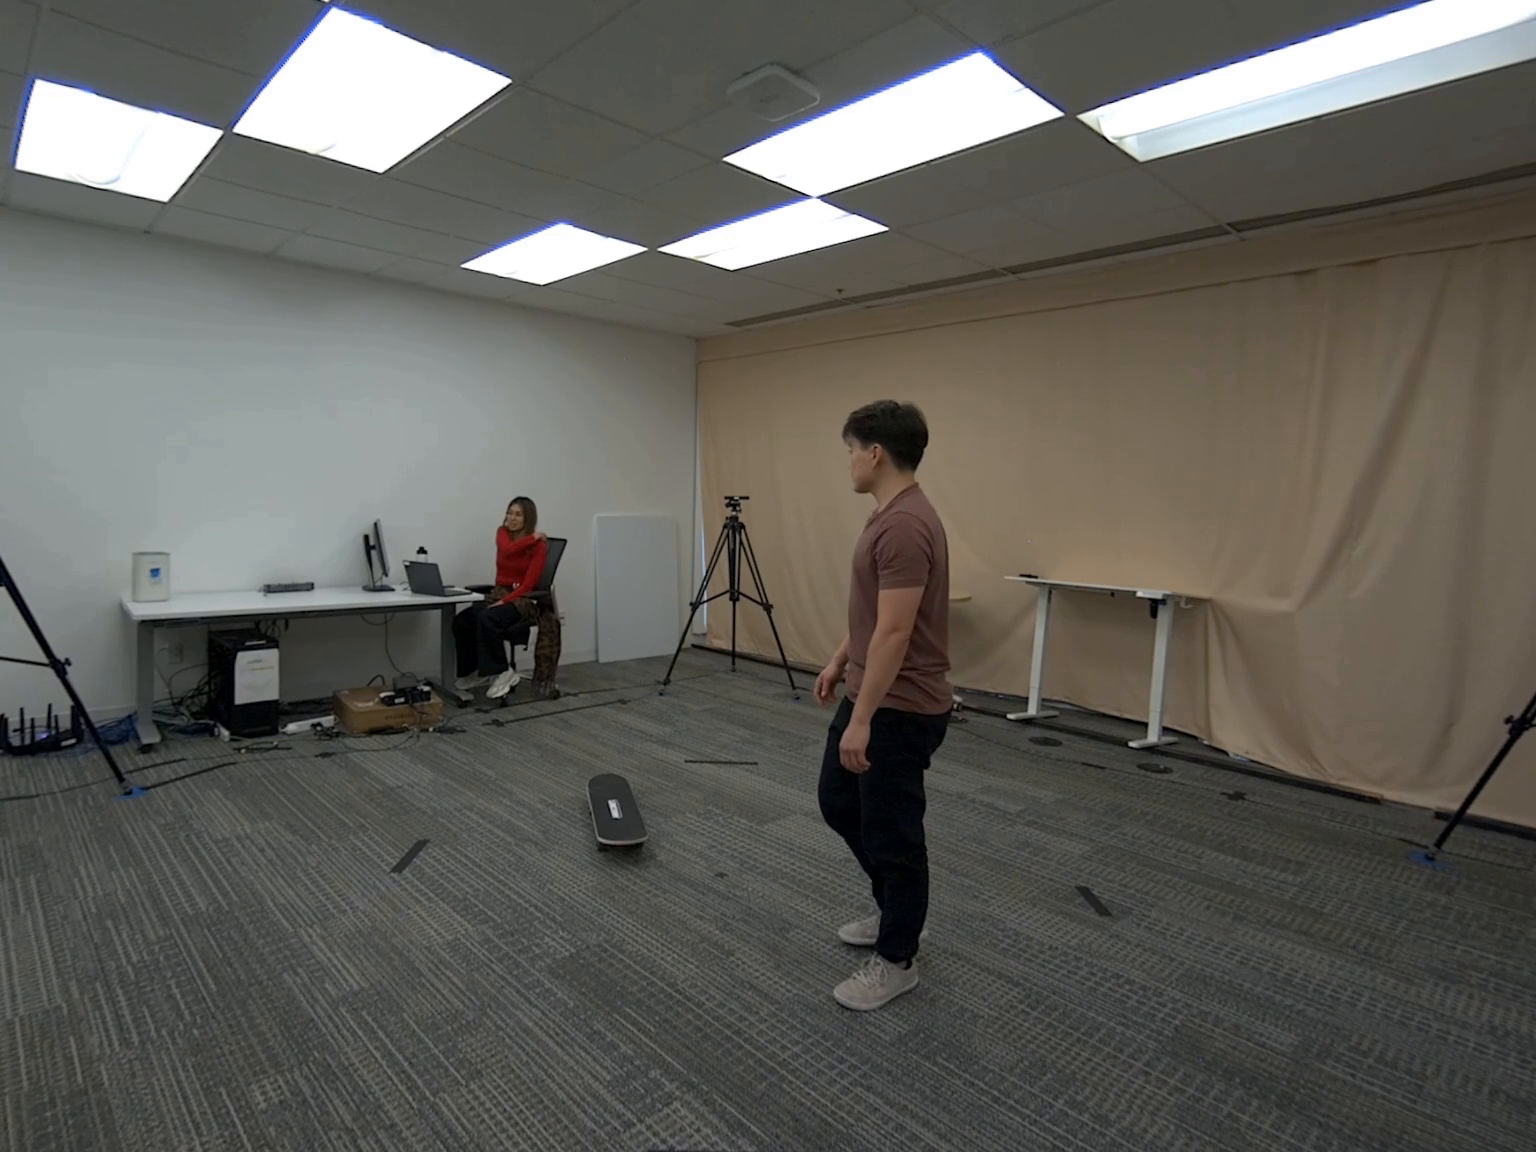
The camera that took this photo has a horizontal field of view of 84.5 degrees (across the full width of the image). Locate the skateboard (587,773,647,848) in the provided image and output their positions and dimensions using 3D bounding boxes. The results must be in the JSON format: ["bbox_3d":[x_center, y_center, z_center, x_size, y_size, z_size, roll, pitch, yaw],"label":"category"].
[{"bbox_3d":[-0.650,1.004,3.508,0.191,0.110,0.796,0,5,-15],"label":"skateboard"}]
